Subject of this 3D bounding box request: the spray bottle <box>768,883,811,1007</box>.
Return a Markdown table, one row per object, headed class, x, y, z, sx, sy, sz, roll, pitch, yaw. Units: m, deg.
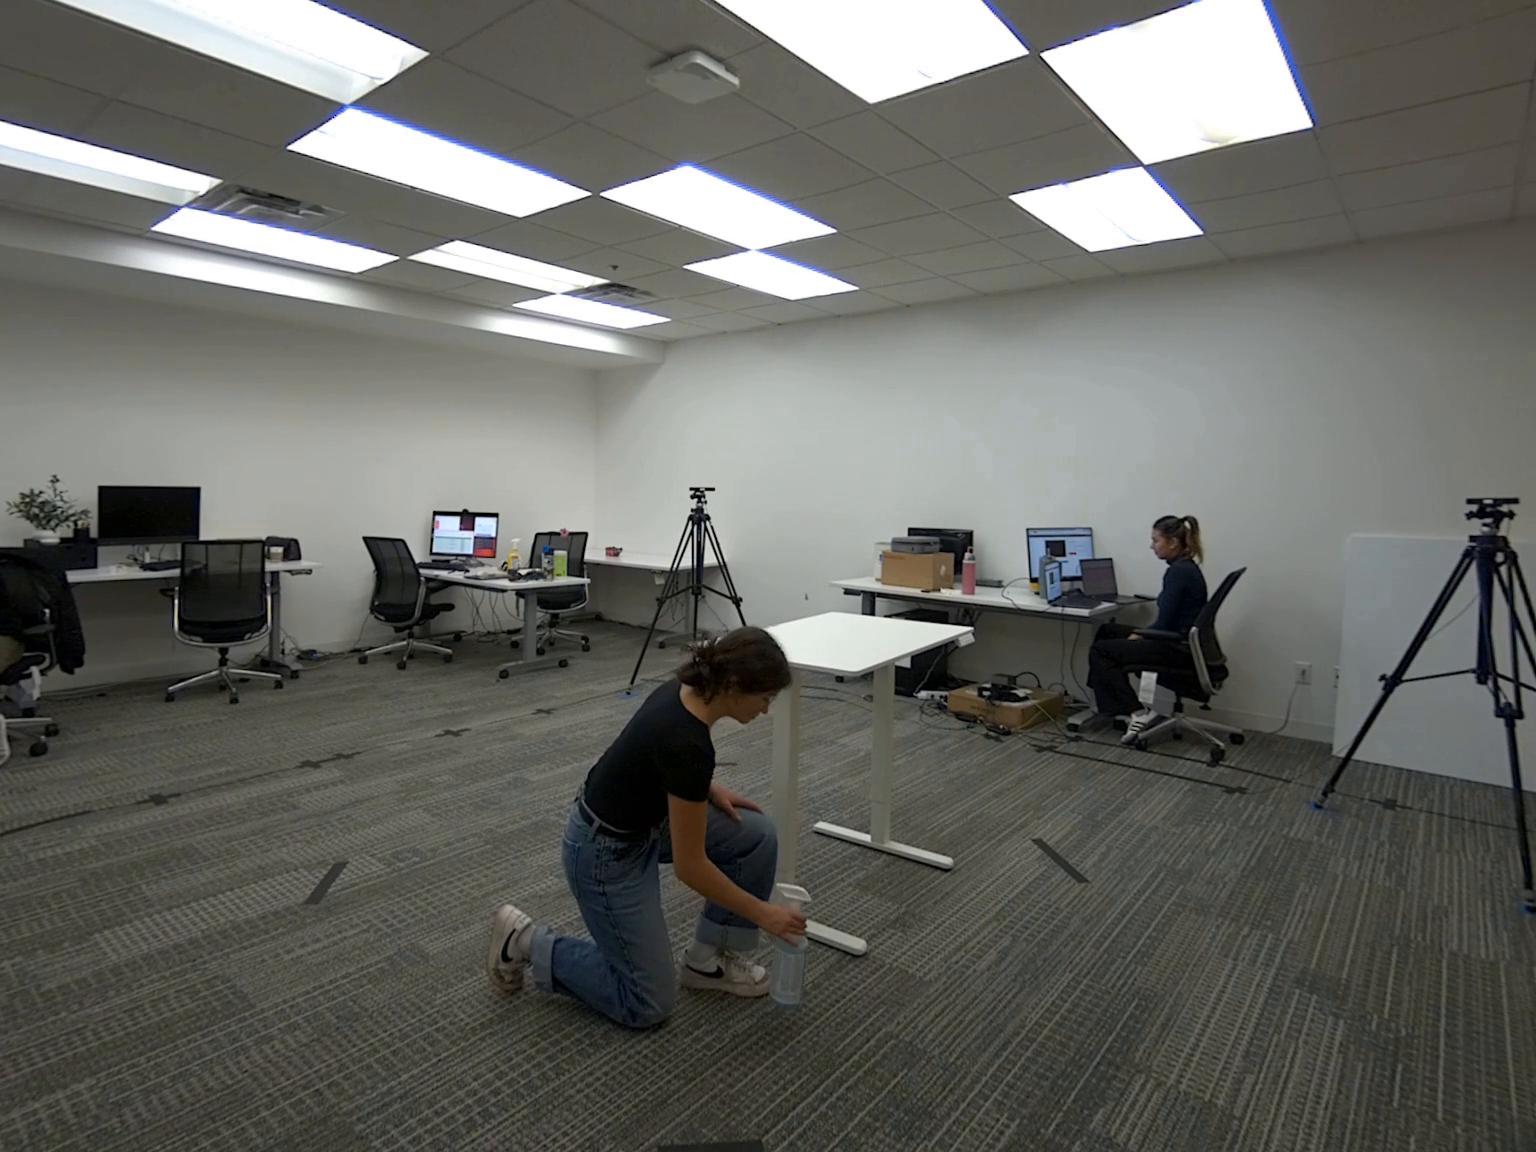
| class | x | y | z | sx | sy | sz | roll | pitch | yaw |
| --- | --- | --- | --- | --- | --- | --- | --- | --- | --- |
| spray bottle | 0.052 | 0.941 | 2.179 | 0.093 | 0.297 | 0.084 | 6 | 1 | 28 |
